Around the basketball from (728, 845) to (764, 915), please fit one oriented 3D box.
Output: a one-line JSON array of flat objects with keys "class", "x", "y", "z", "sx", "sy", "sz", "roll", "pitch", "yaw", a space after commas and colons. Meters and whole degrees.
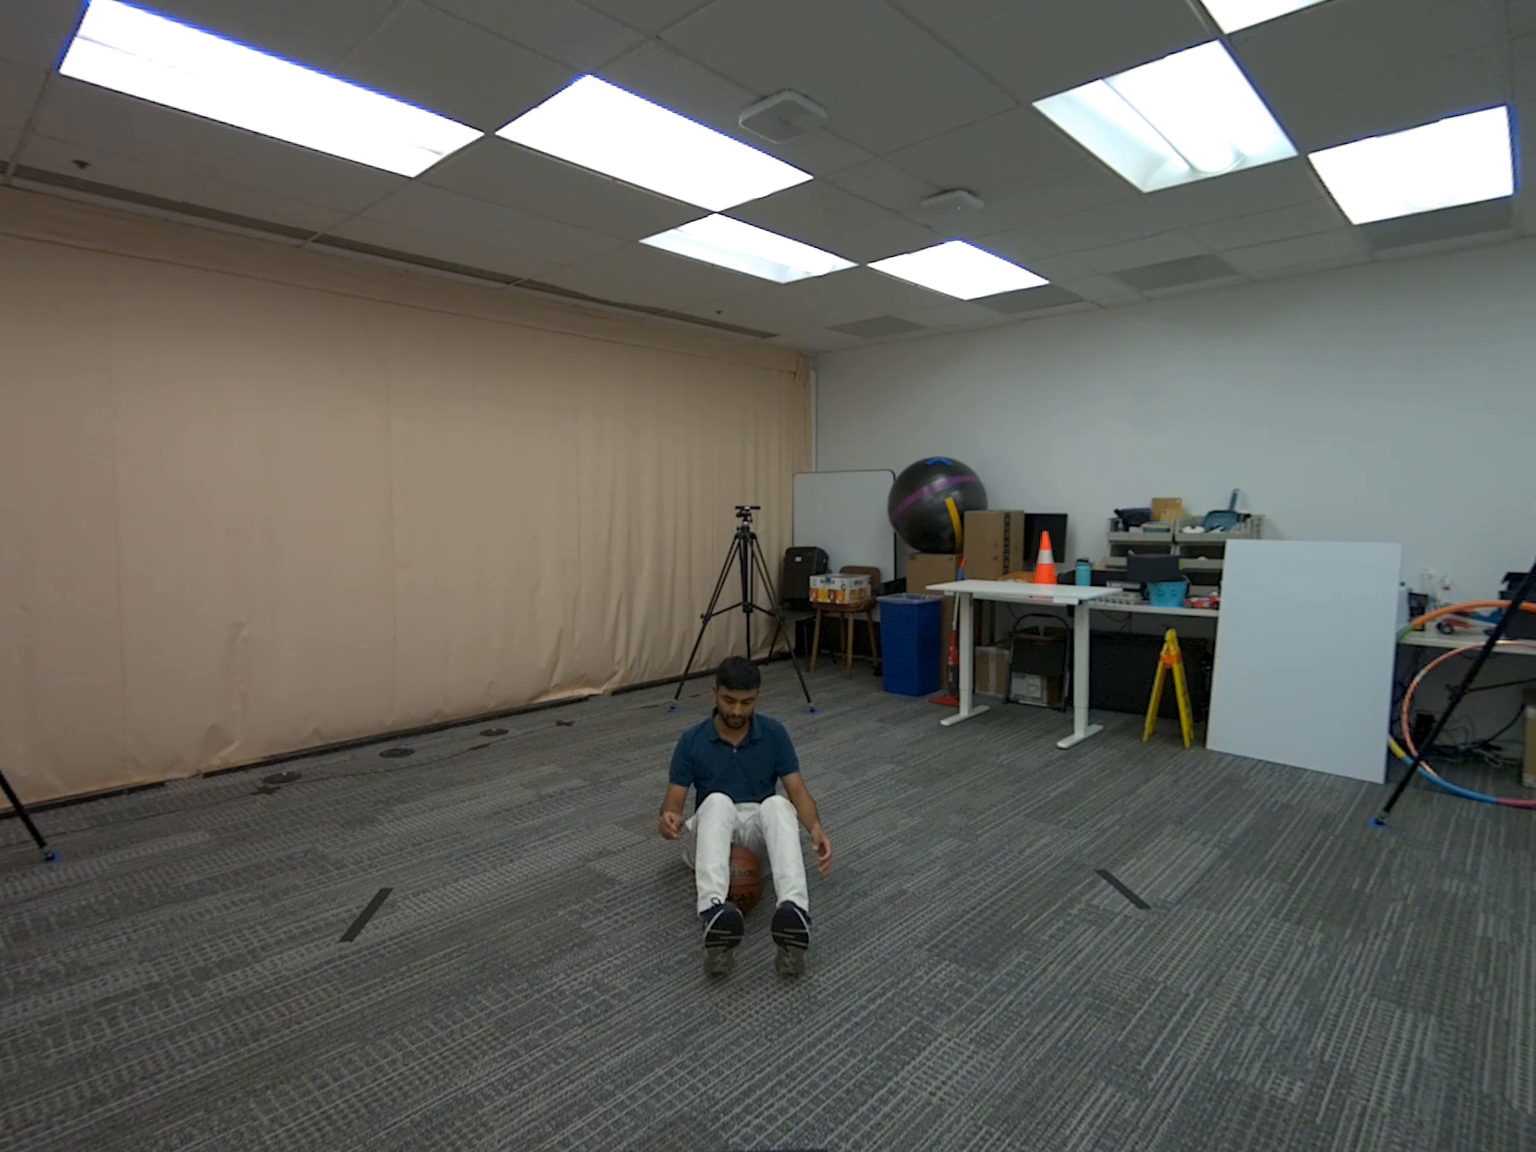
[{"class": "basketball", "x": -0.139, "y": 1.030, "z": 2.870, "sx": 0.236, "sy": 0.235, "sz": 0.237, "roll": 0, "pitch": 4, "yaw": -2}]
